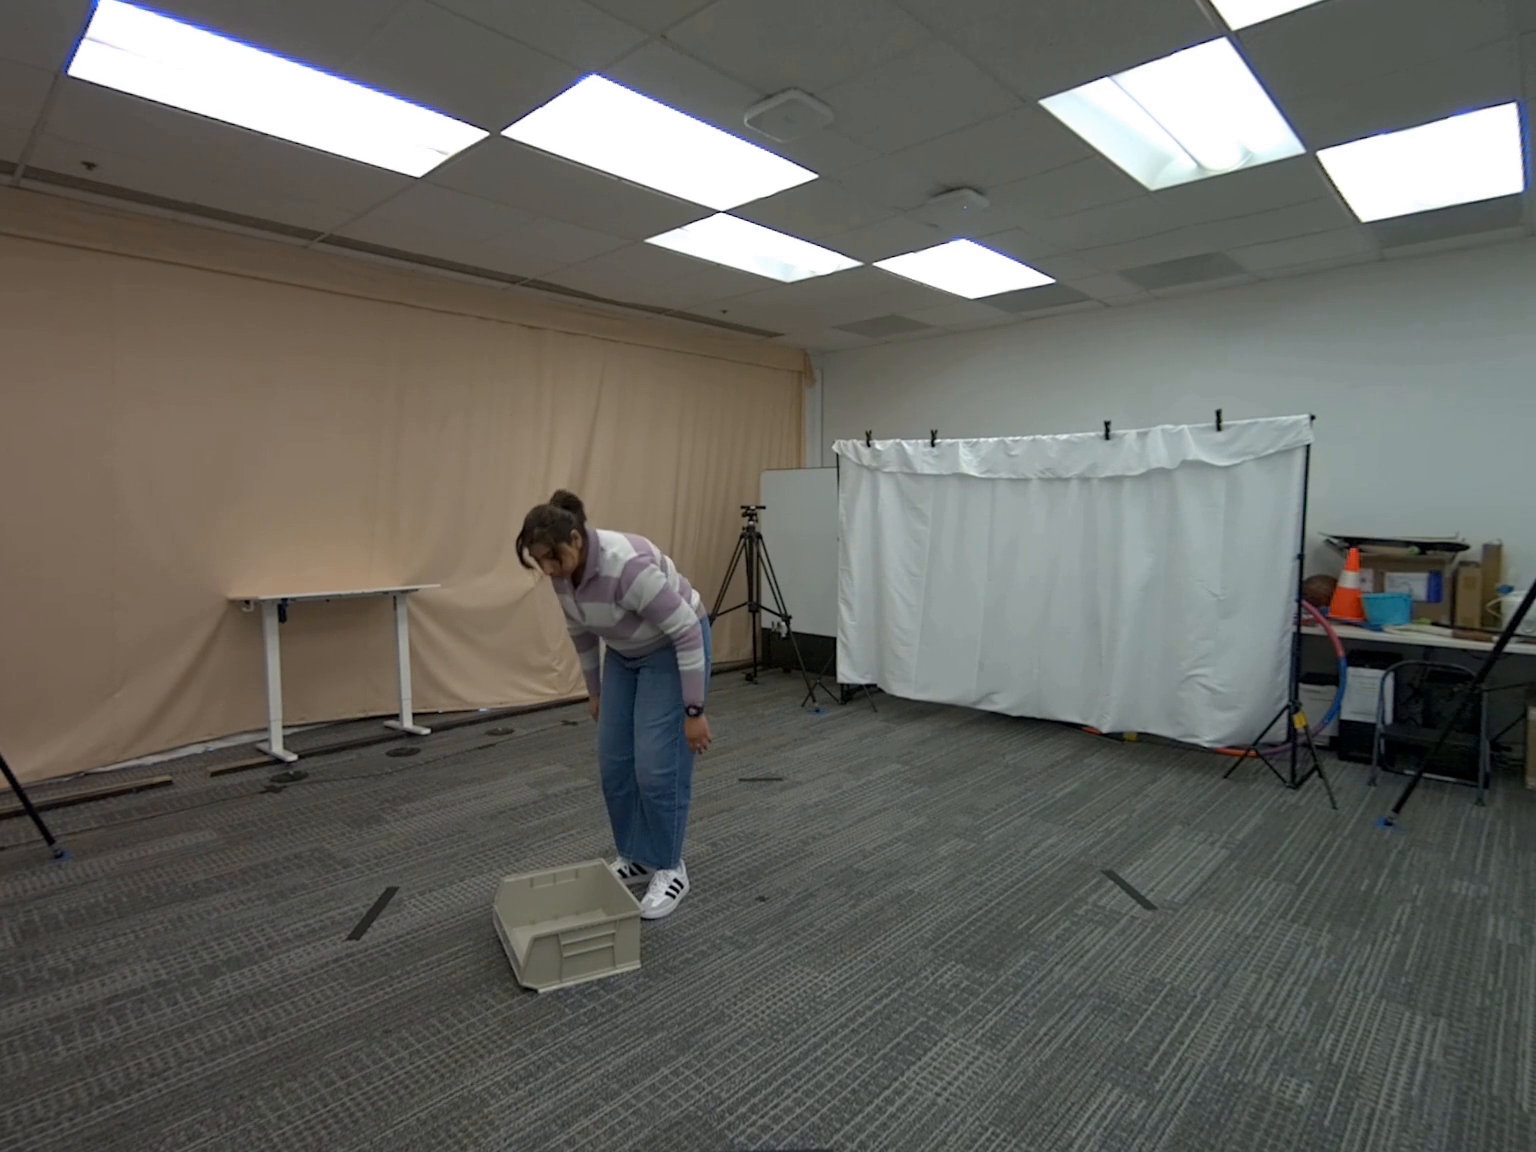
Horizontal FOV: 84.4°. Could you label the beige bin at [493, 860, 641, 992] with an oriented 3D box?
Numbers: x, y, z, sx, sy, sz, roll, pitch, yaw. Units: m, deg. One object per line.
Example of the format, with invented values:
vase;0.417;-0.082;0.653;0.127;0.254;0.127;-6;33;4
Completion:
beige bin;-0.636;1.089;2.645;0.368;0.188;0.434;-1;4;-28
